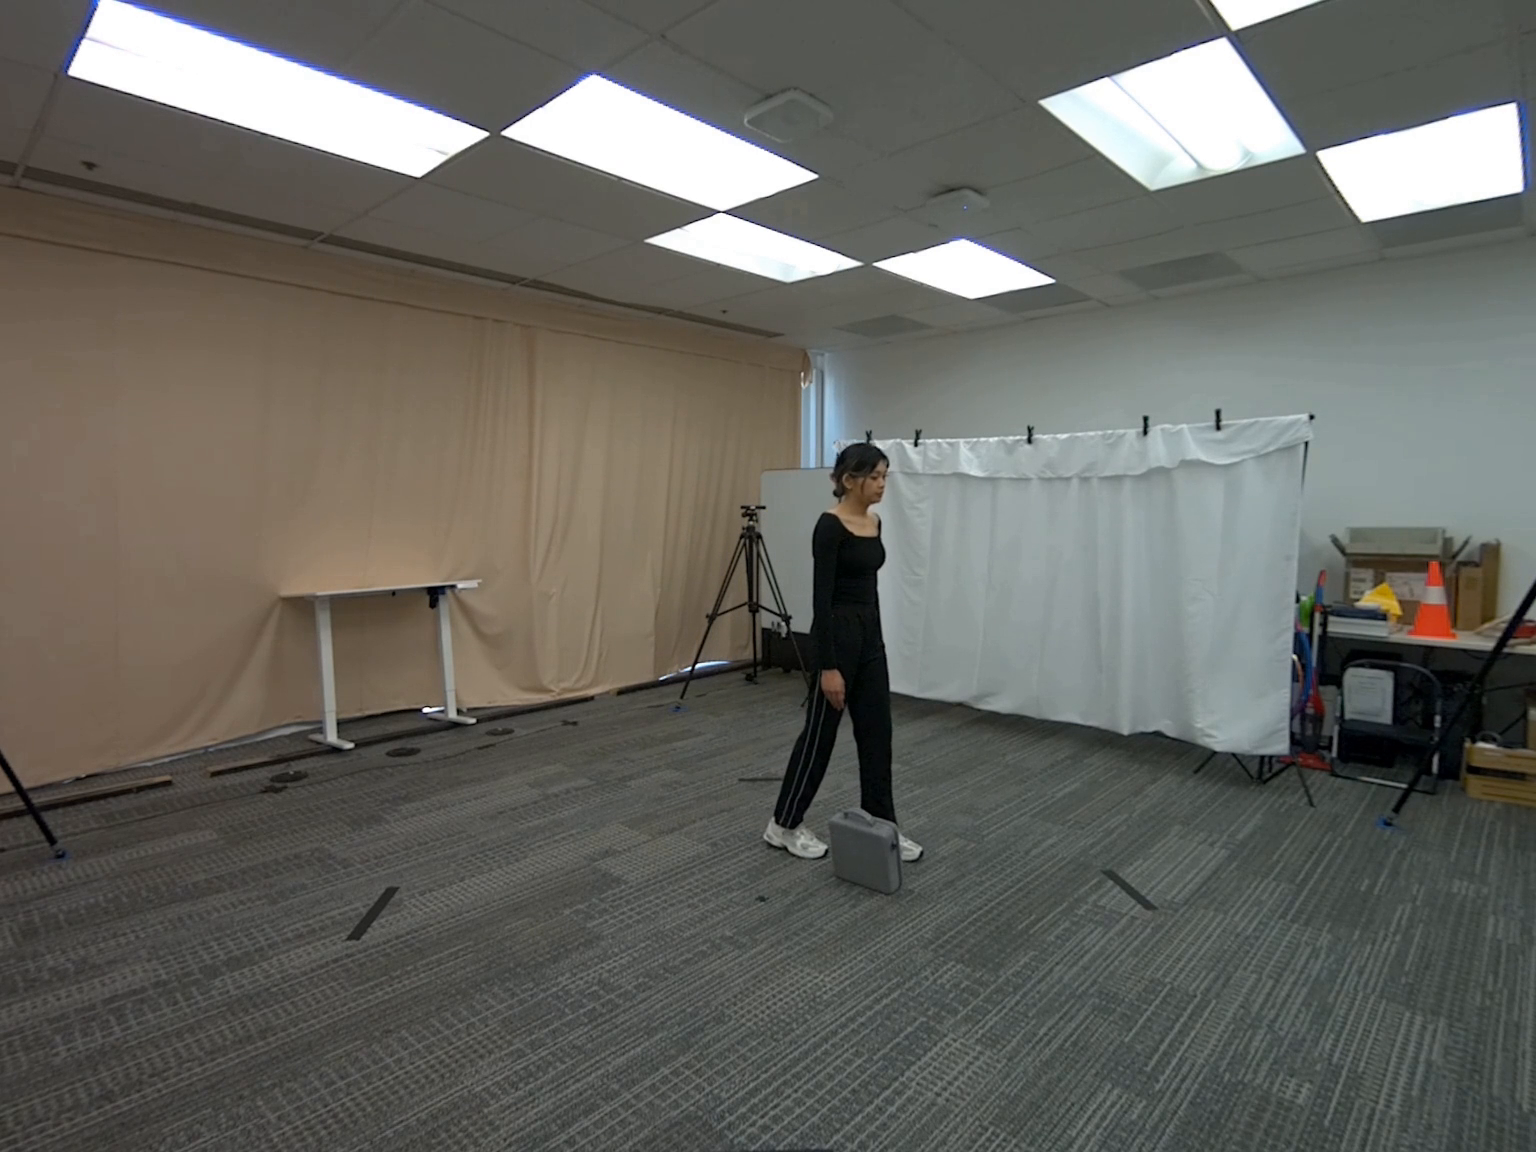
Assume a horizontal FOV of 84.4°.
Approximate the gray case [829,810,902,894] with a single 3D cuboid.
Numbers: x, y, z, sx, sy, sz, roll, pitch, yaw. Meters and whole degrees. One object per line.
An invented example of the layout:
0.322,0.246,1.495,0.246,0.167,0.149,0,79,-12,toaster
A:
0.359,1.003,3.079,0.265,0.258,0.102,5,17,43,gray case
